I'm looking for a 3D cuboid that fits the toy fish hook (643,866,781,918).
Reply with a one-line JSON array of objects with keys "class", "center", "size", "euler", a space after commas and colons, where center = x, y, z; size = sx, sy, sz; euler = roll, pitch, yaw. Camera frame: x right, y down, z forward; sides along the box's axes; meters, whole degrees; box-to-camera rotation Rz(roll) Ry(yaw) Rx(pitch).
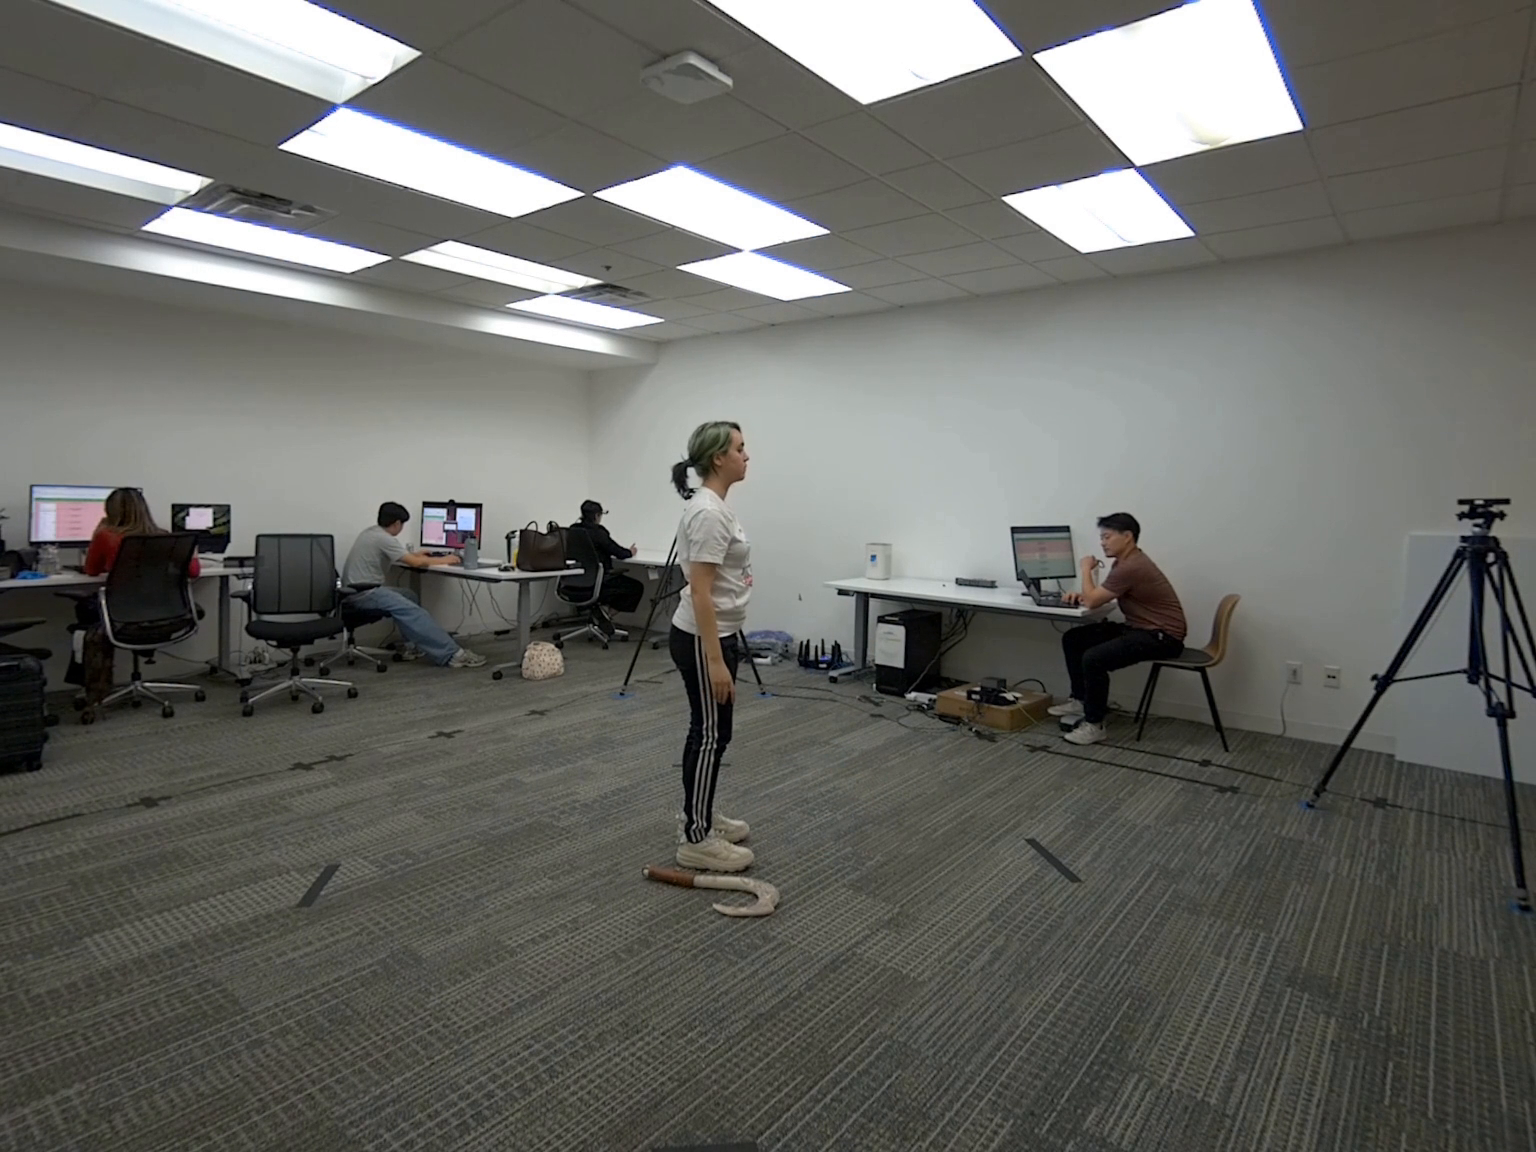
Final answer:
[{"class": "toy fish hook", "center": [-0.224, 1.064, 2.900], "size": [0.516, 0.048, 0.221], "euler": [2, 4, 18]}]
